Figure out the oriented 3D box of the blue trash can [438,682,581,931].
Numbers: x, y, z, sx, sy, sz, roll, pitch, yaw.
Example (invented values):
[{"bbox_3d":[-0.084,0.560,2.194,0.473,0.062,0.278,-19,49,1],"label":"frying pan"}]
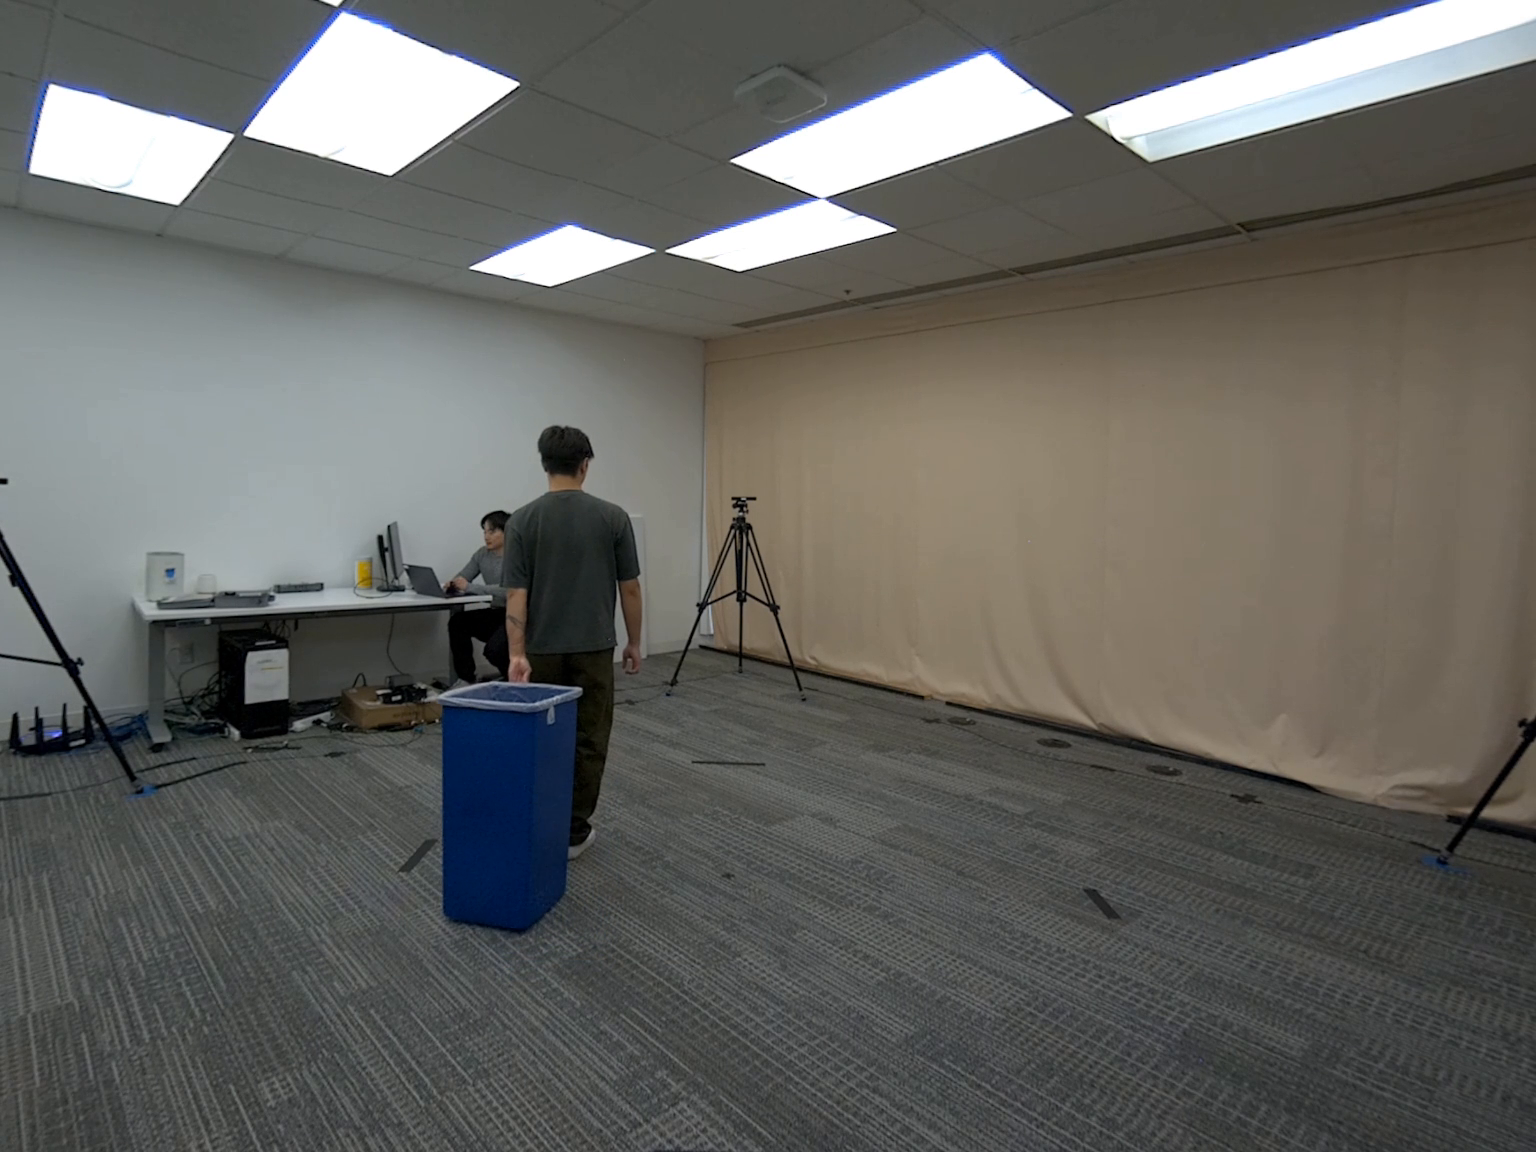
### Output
[{"bbox_3d":[-0.890,0.755,2.831,0.378,0.713,0.374,2,0,12],"label":"blue trash can"}]
